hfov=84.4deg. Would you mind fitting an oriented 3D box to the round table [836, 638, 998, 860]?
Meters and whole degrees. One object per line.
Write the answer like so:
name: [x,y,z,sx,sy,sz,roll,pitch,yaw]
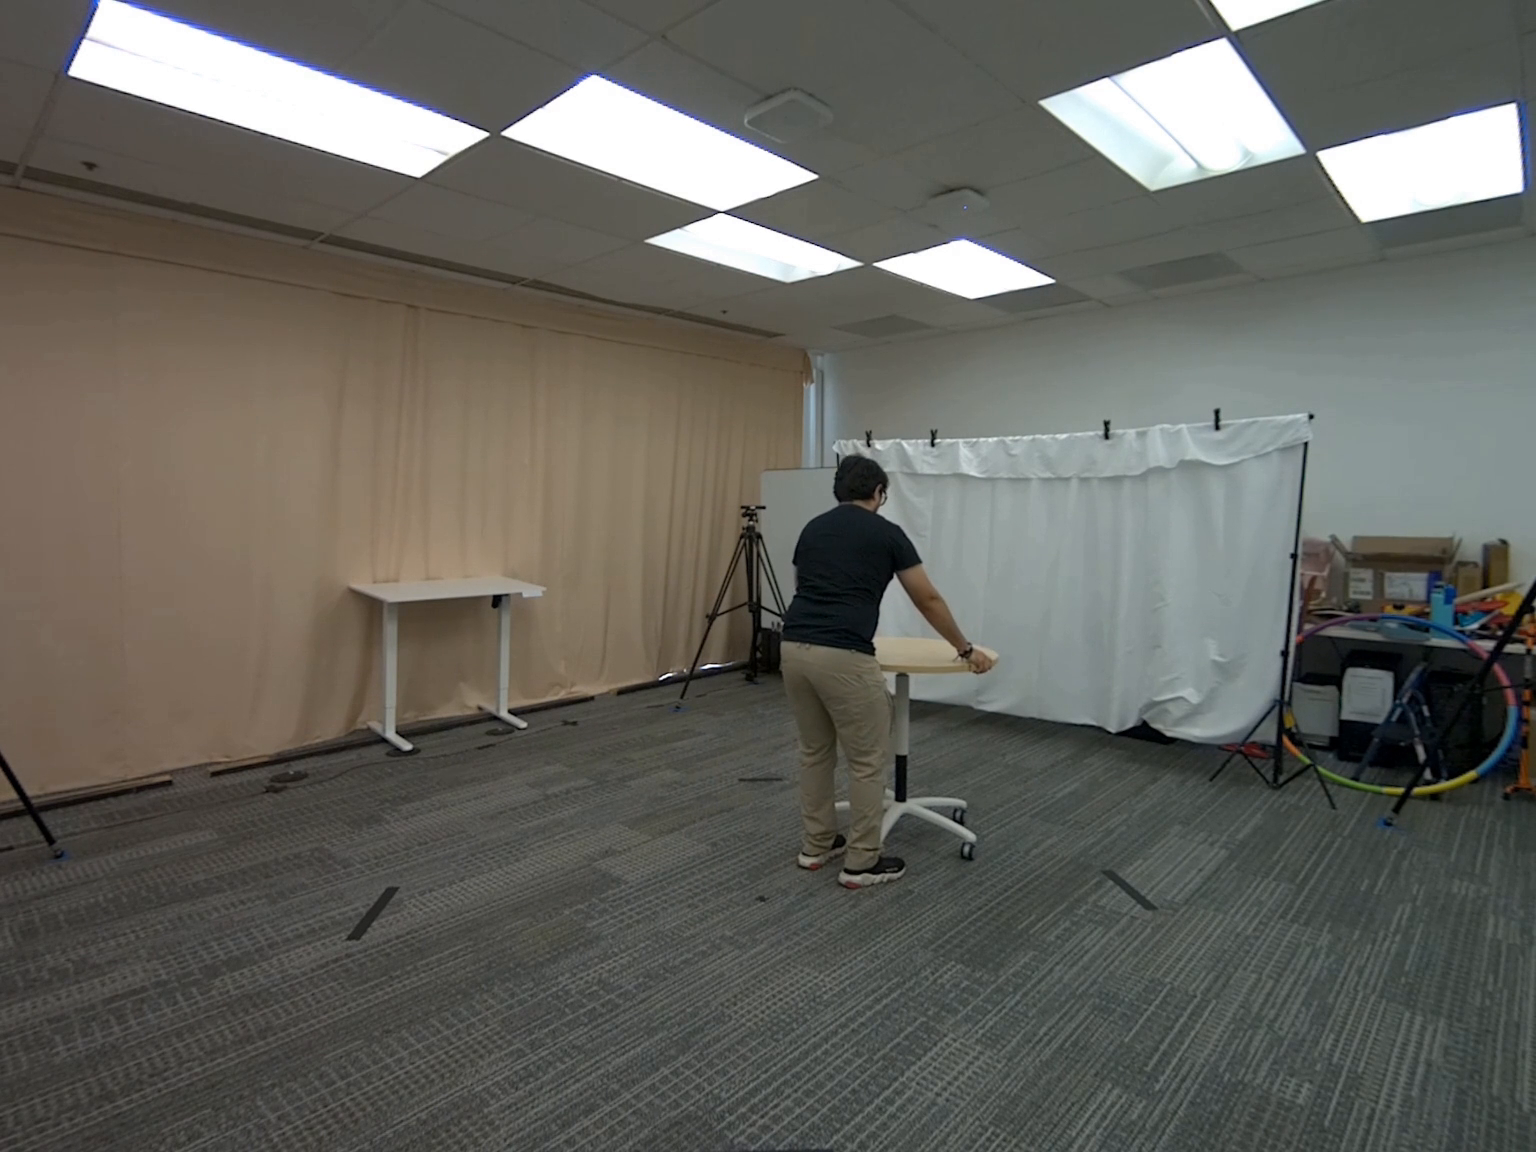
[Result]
round table: [0.553,0.696,3.566,0.784,0.785,0.787,0,3,-2]
